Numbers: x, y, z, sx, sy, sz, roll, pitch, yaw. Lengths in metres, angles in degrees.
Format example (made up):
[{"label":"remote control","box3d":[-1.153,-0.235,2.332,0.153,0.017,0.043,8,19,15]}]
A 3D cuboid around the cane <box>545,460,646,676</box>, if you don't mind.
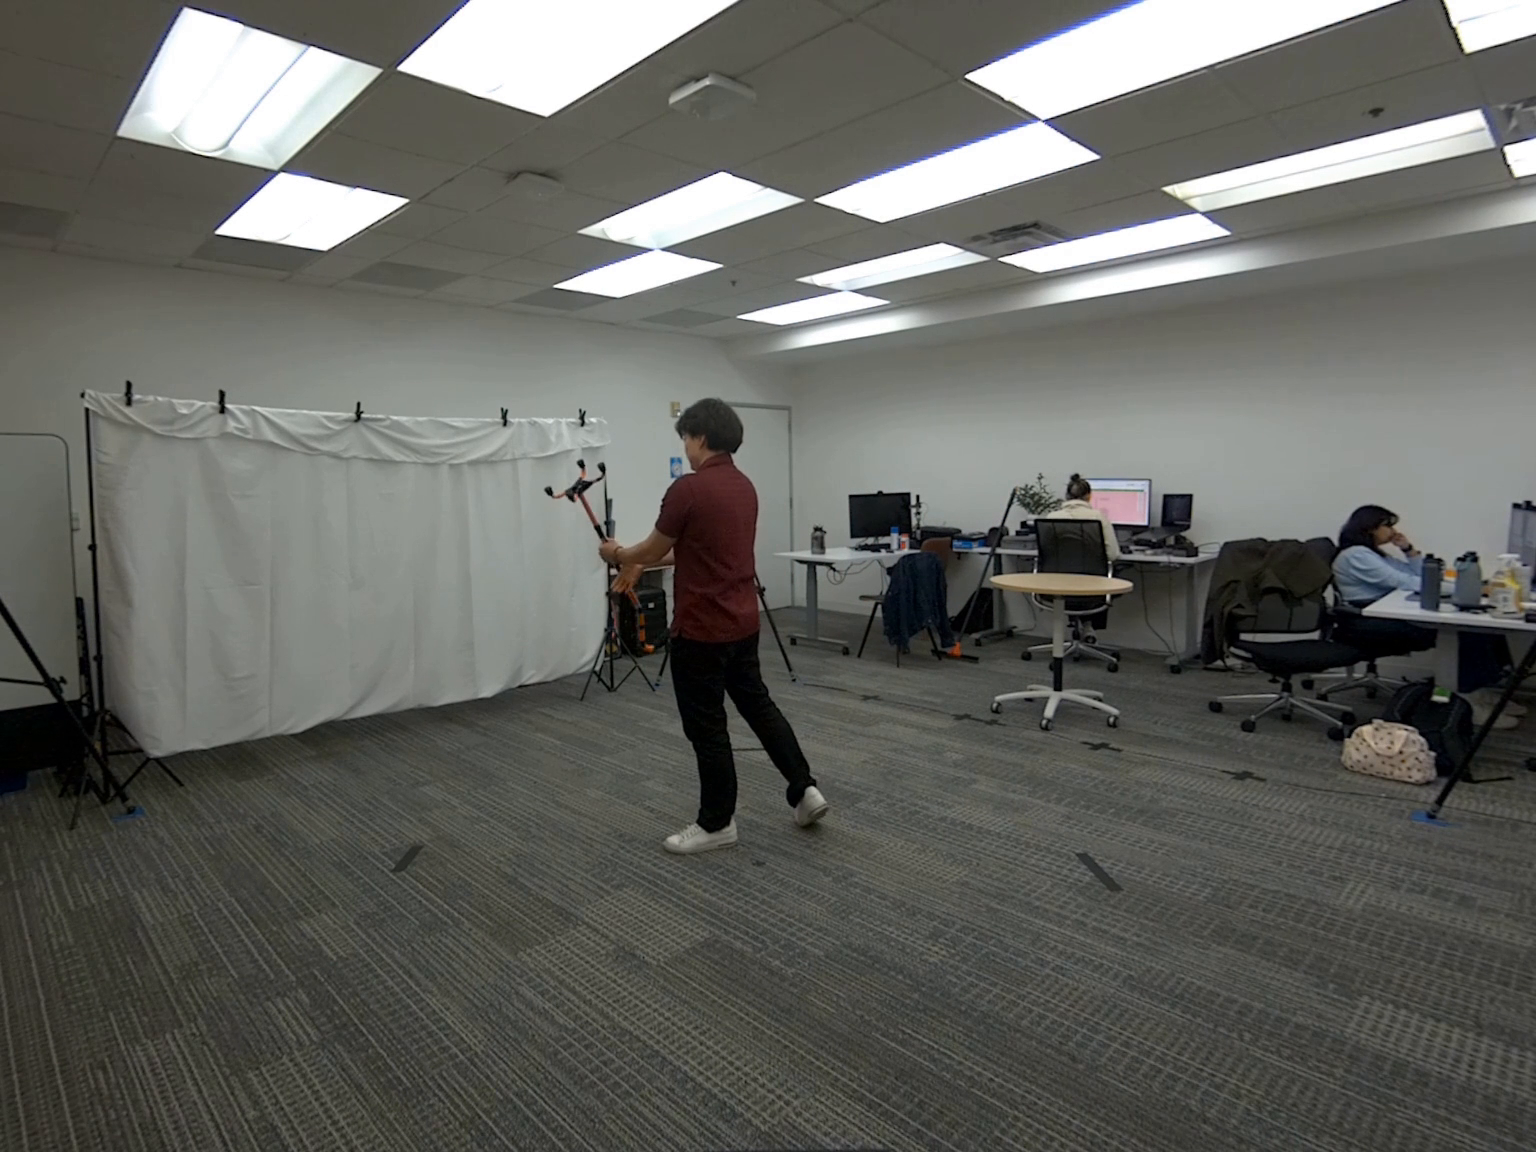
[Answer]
[{"label":"cane","box3d":[-0.600,-0.035,3.427,0.157,0.877,0.206,15,49,39]}]
